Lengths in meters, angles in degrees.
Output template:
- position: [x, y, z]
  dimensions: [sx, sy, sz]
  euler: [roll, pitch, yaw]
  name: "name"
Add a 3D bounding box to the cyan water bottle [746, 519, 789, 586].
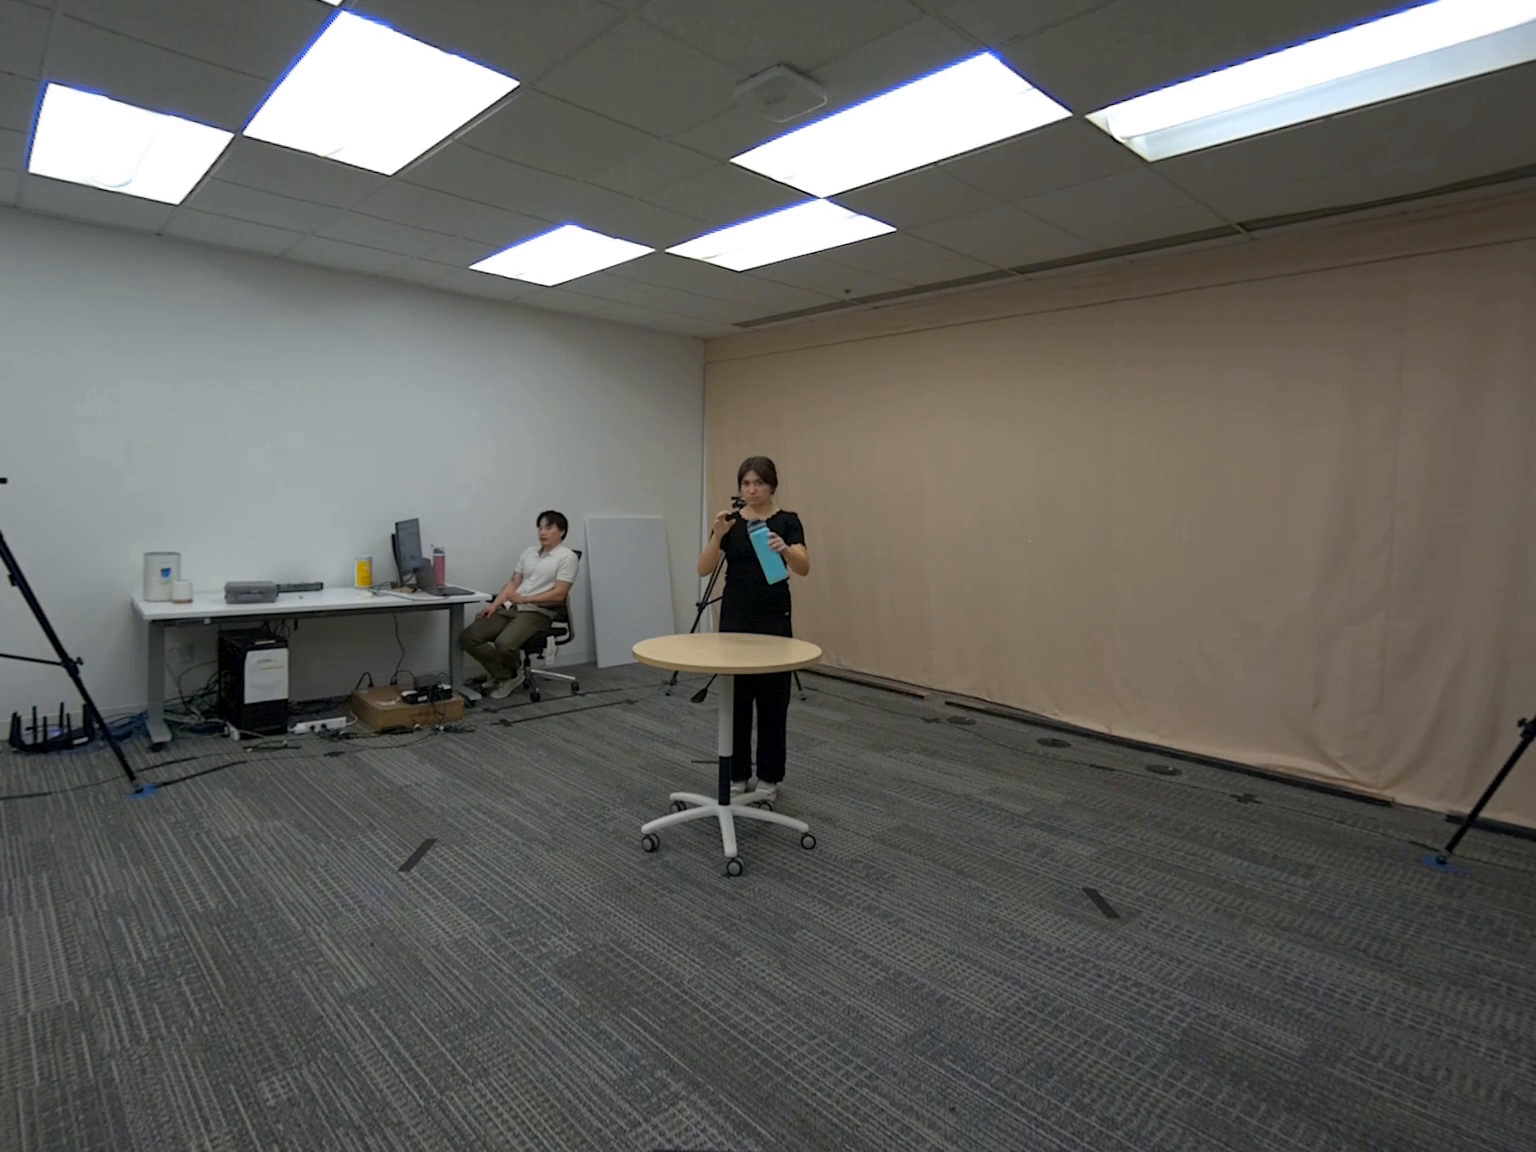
- position: [-0.015, -0.114, 3.521]
  dimensions: [0.092, 0.284, 0.092]
  euler: [-21, -2, -2]
  name: "cyan water bottle"
